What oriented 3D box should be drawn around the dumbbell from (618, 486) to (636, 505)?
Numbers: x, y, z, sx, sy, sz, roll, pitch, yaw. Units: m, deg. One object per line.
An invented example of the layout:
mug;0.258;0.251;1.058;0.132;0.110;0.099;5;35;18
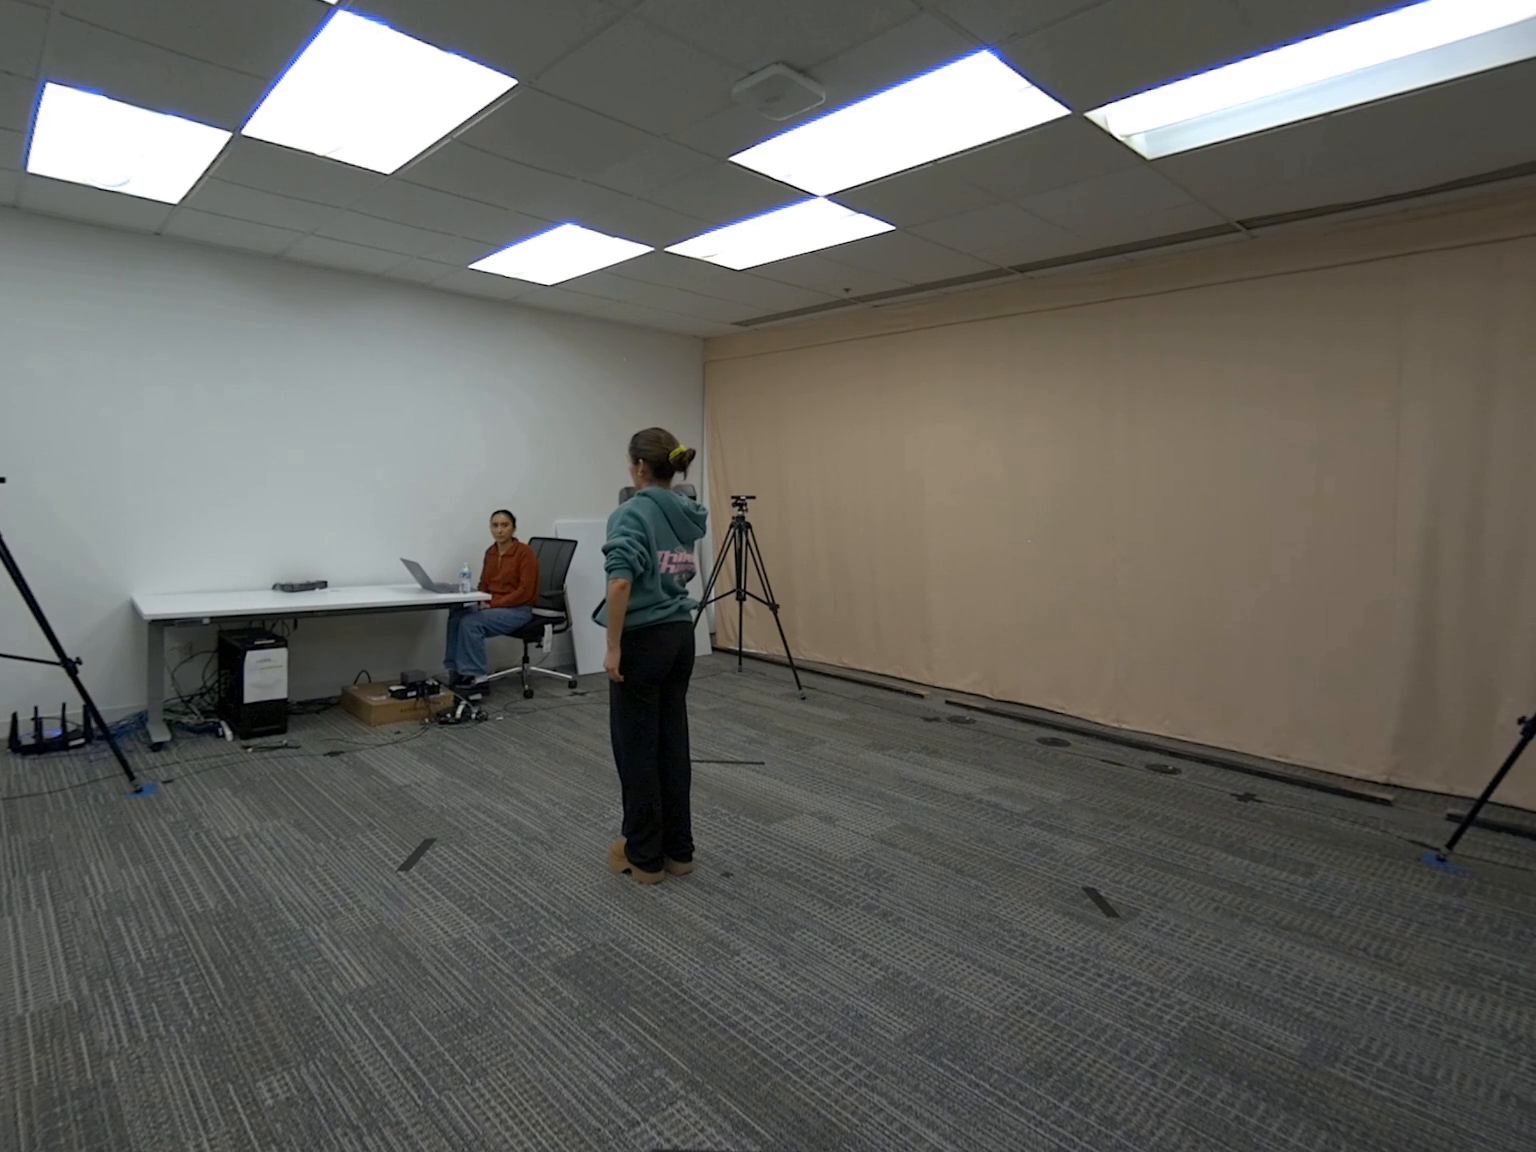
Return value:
dumbbell;-0.428;-0.297;3.288;0.289;0.126;0.108;-6;-31;-23
